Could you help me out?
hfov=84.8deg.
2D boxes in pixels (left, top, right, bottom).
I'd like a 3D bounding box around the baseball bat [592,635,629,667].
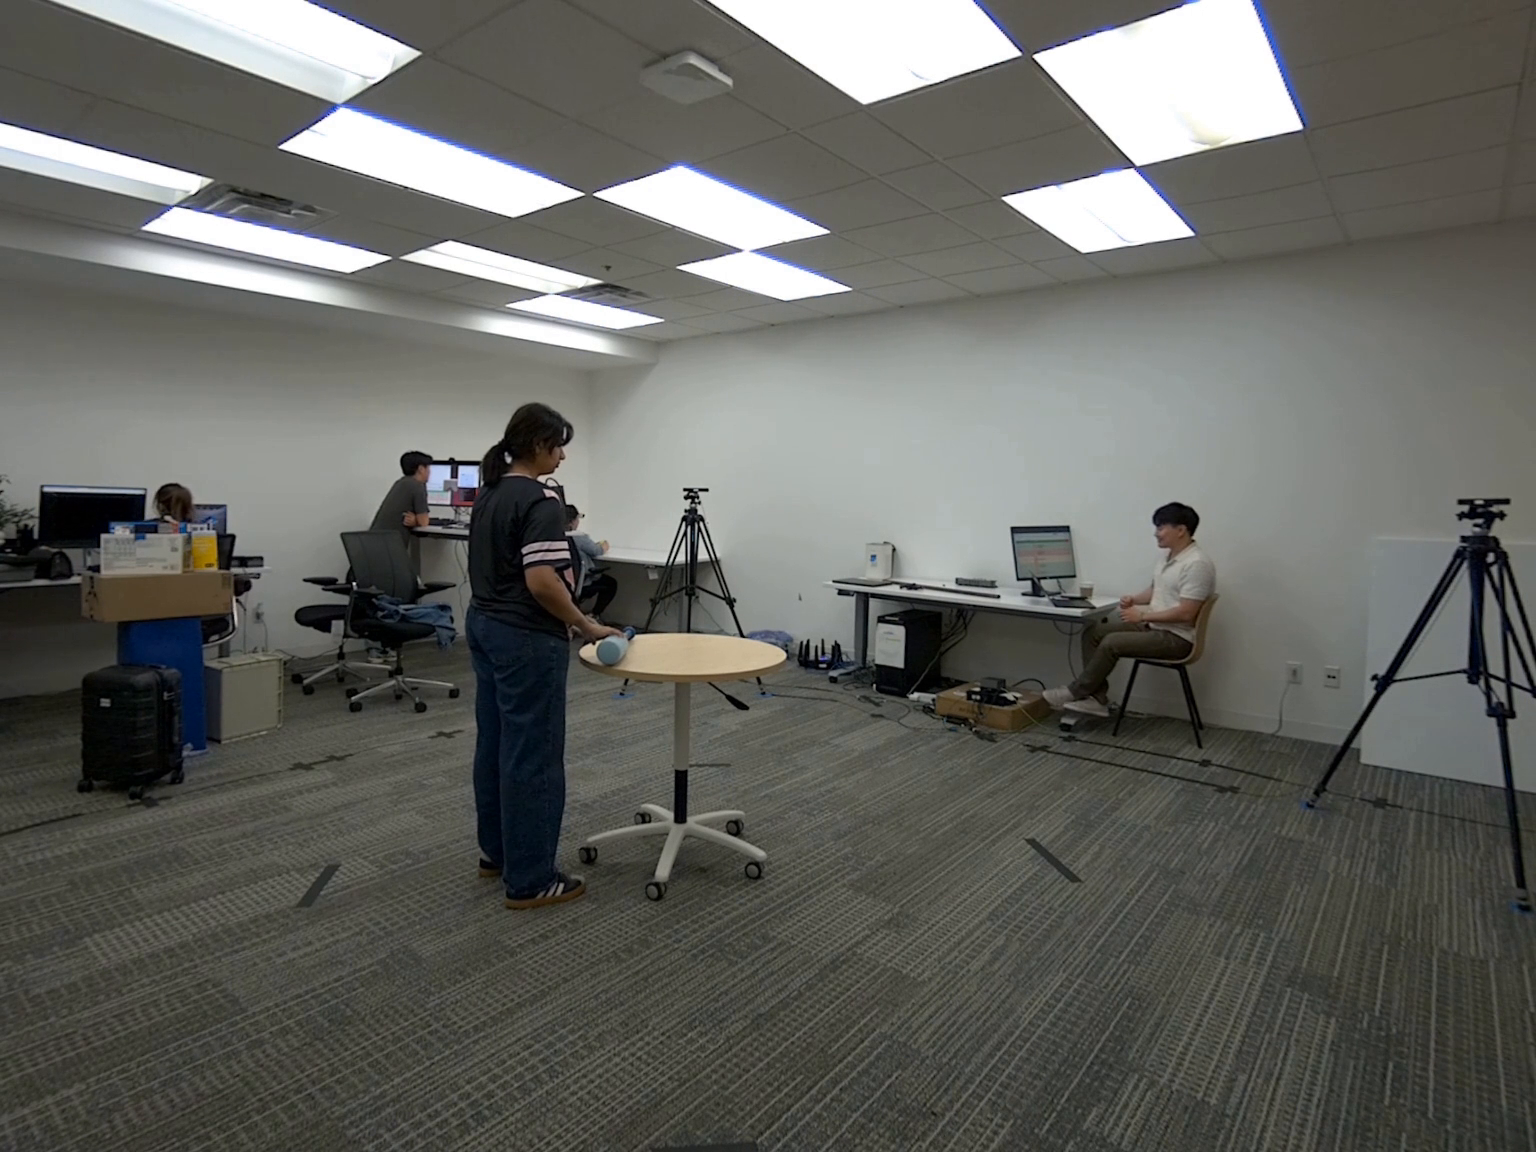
[{"bbox_3d":[-0.559,0.247,3.101,0.089,0.089,0.545,1,3,-4],"label":"baseball bat"}]
